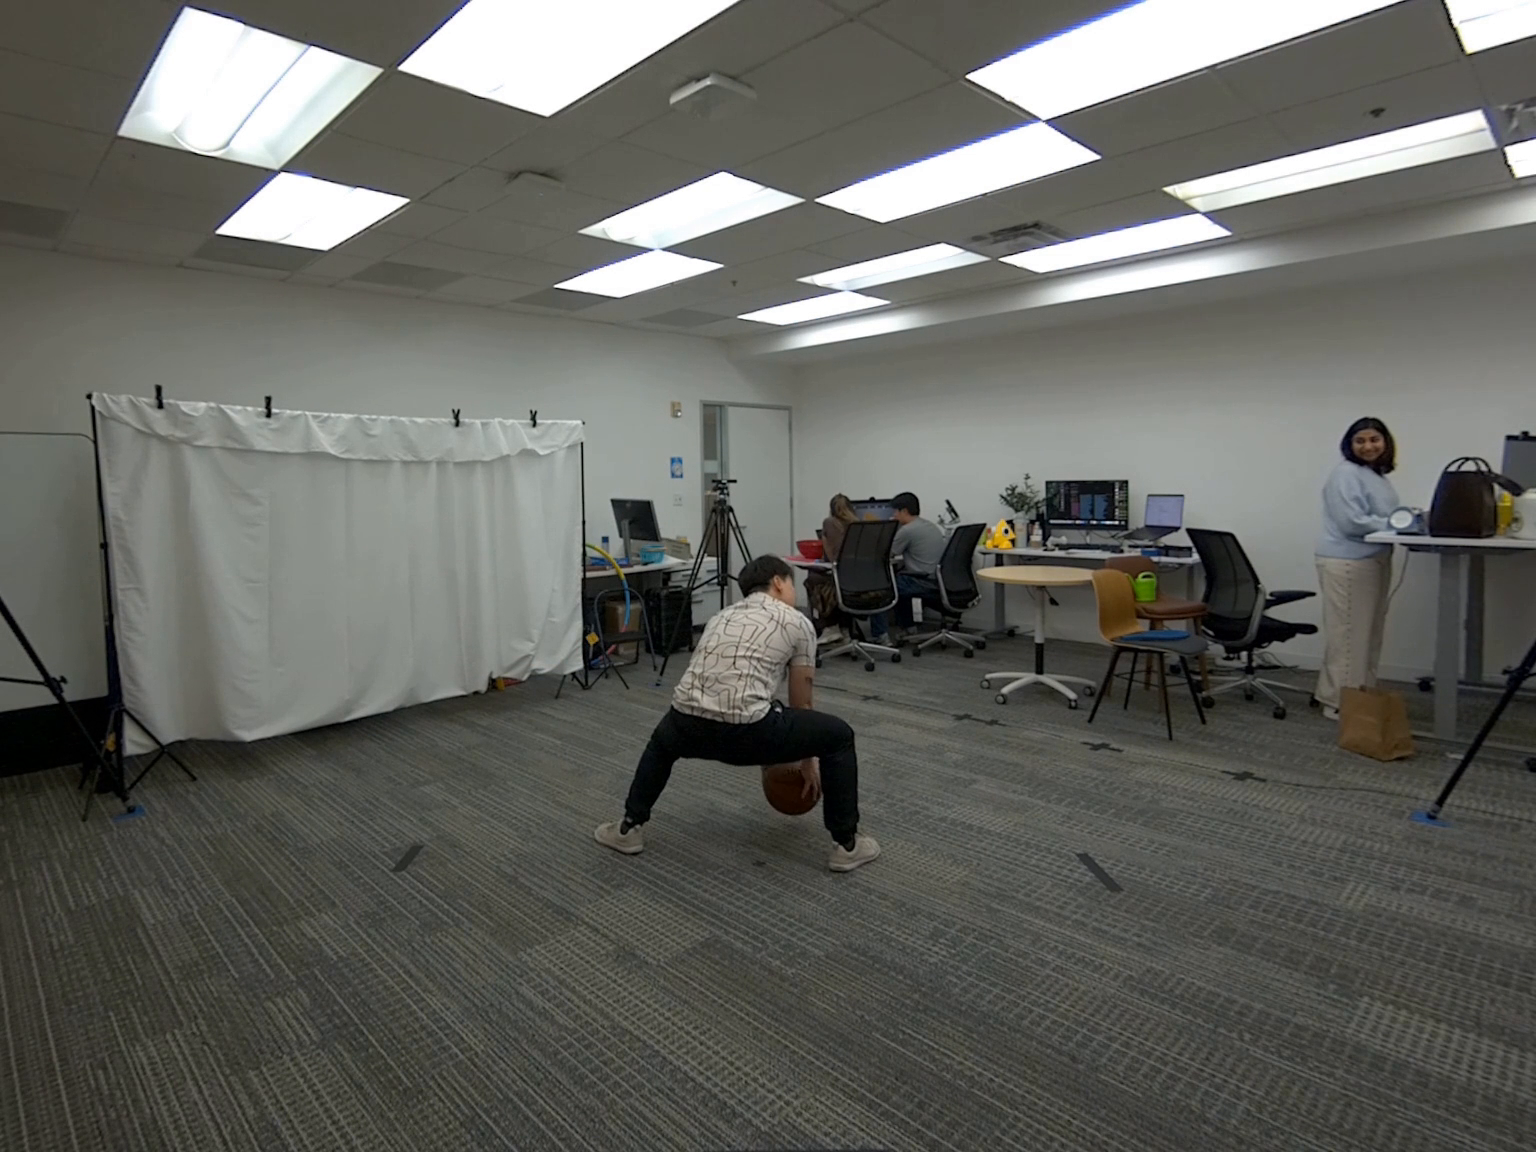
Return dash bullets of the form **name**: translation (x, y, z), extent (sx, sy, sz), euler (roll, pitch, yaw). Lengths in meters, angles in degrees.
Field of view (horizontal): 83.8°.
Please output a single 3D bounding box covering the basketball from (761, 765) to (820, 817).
- **basketball**: translation (0.095, 0.822, 3.407), extent (0.236, 0.235, 0.237), euler (-1, 5, -2)
